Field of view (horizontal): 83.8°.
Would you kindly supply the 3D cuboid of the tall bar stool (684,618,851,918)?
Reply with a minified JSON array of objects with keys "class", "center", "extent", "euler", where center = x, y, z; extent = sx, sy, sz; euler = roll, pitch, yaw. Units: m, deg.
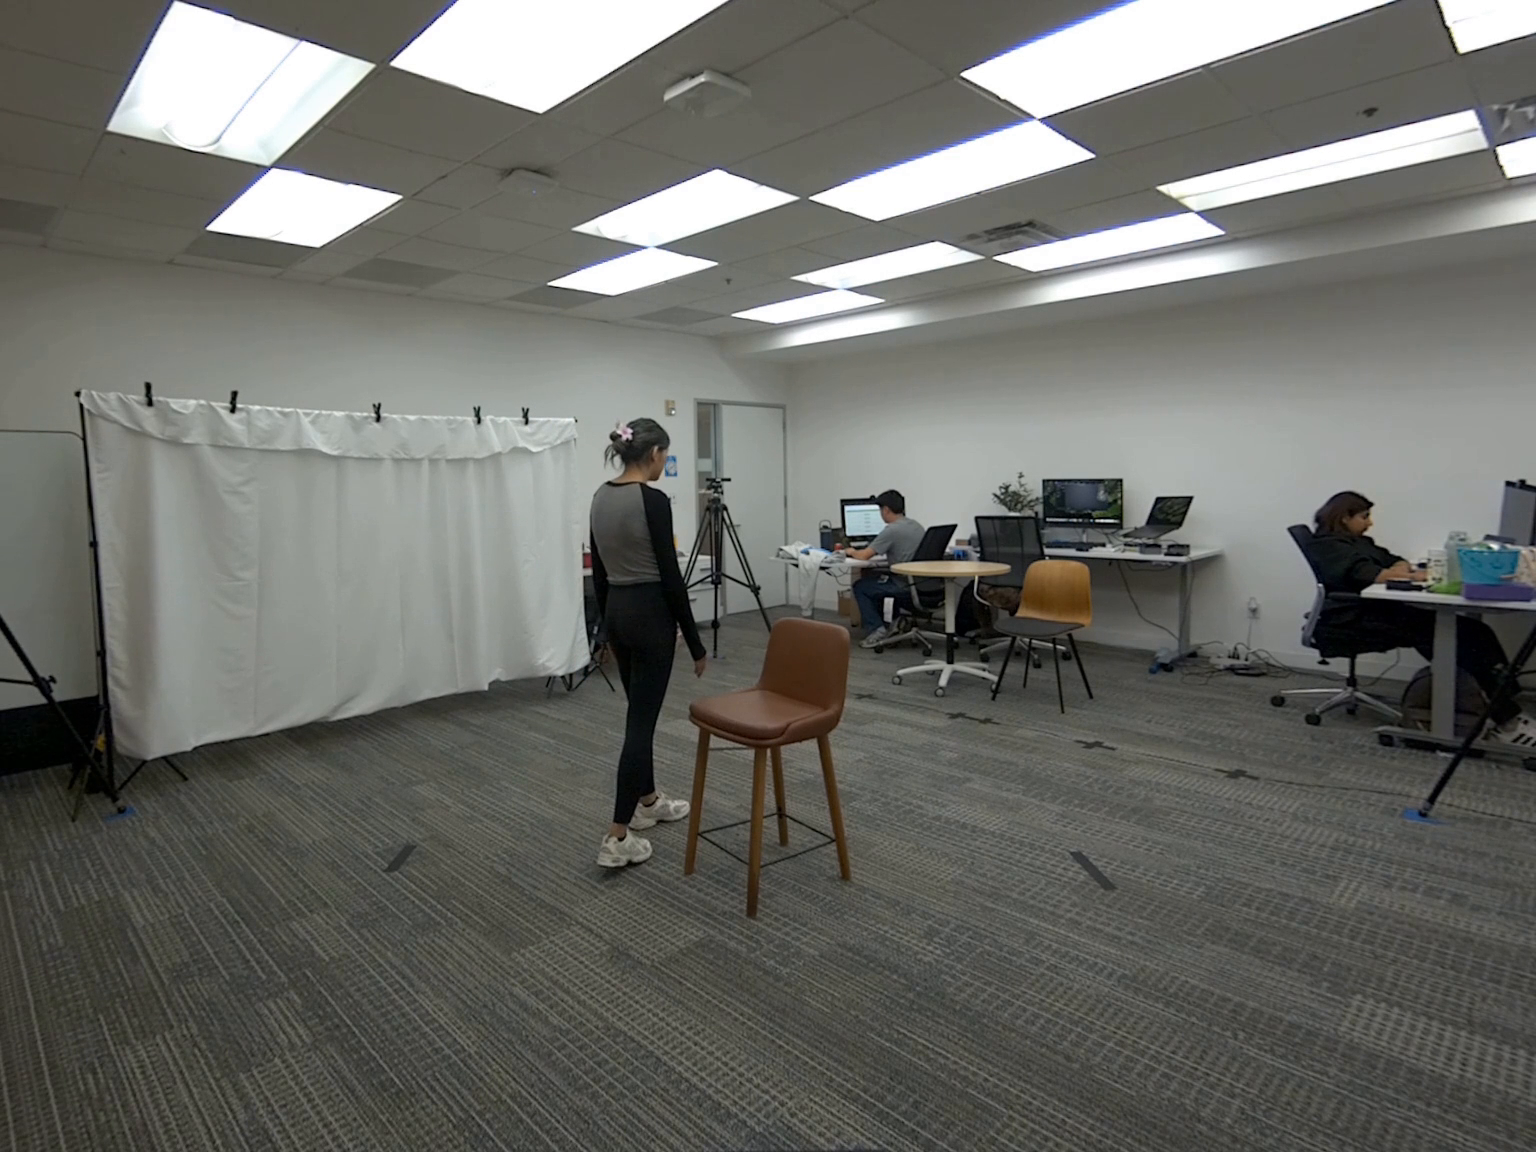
[{"class":"tall bar stool","center":[0.002,0.621,2.969],"extent":[0.455,0.887,0.470],"euler":[-1,4,-36]}]
